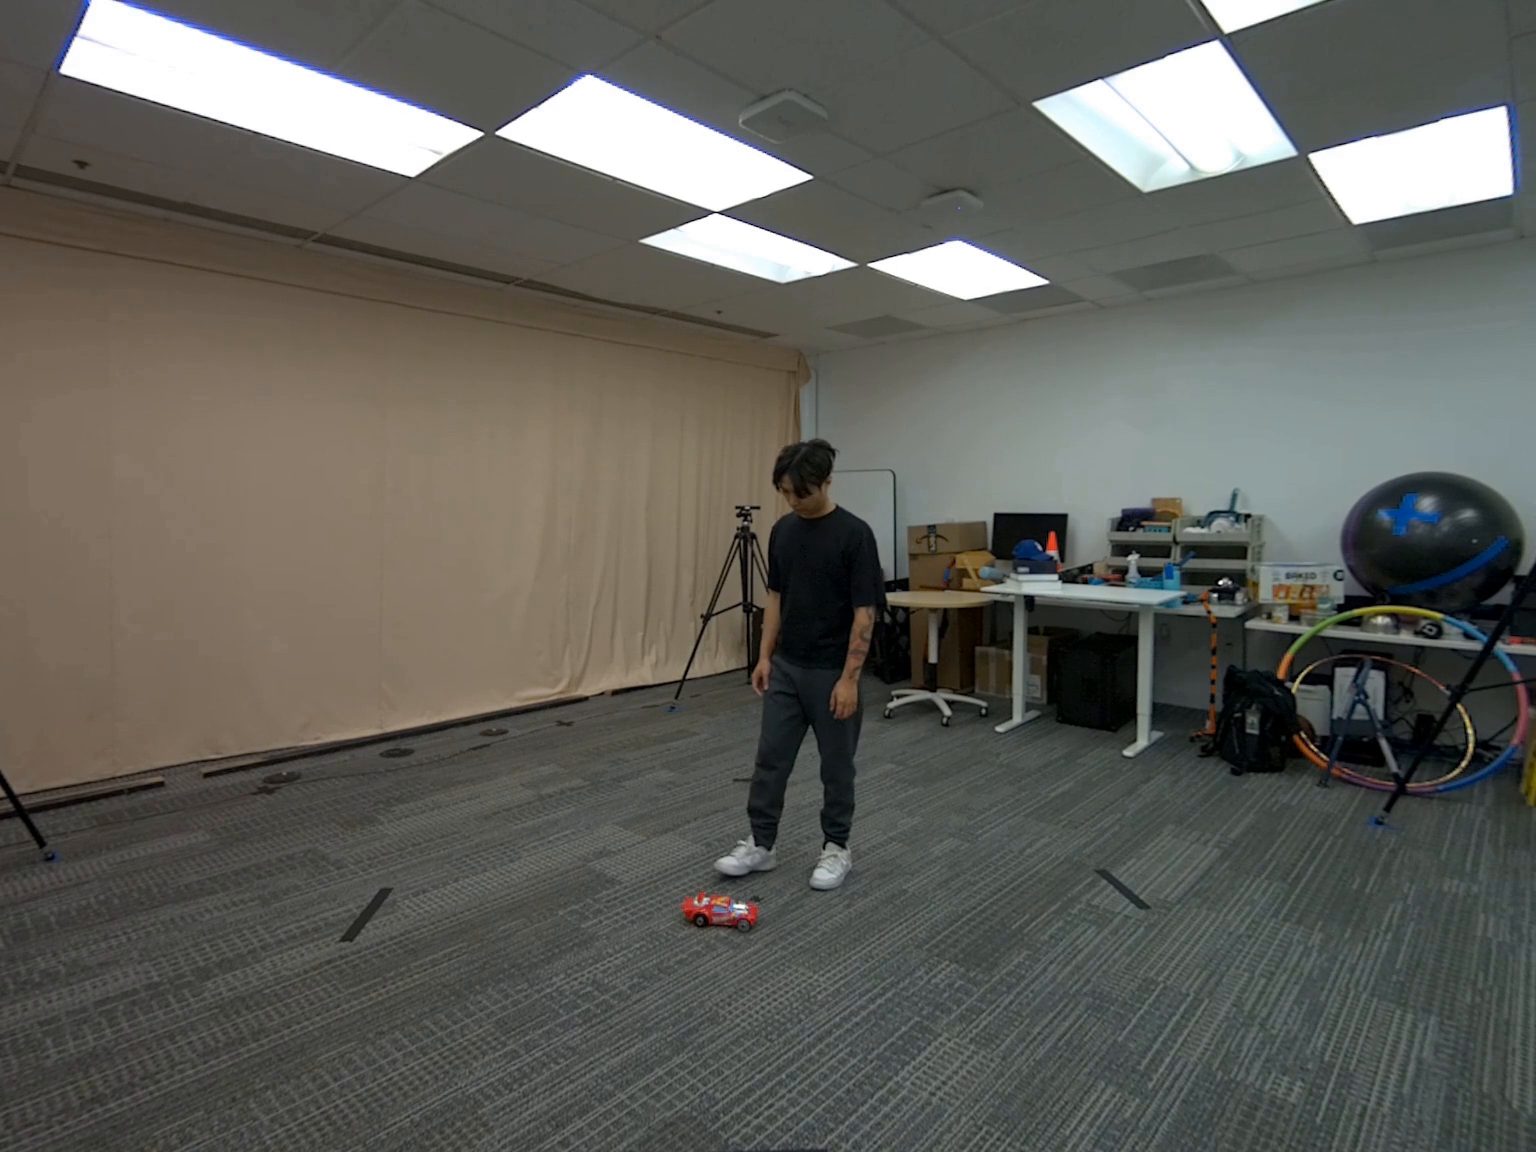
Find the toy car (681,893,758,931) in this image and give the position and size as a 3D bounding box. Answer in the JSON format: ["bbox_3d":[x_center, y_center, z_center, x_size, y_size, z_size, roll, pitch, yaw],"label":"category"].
[{"bbox_3d":[-0.162,1.127,2.822,0.258,0.083,0.129,11,6,11],"label":"toy car"}]
